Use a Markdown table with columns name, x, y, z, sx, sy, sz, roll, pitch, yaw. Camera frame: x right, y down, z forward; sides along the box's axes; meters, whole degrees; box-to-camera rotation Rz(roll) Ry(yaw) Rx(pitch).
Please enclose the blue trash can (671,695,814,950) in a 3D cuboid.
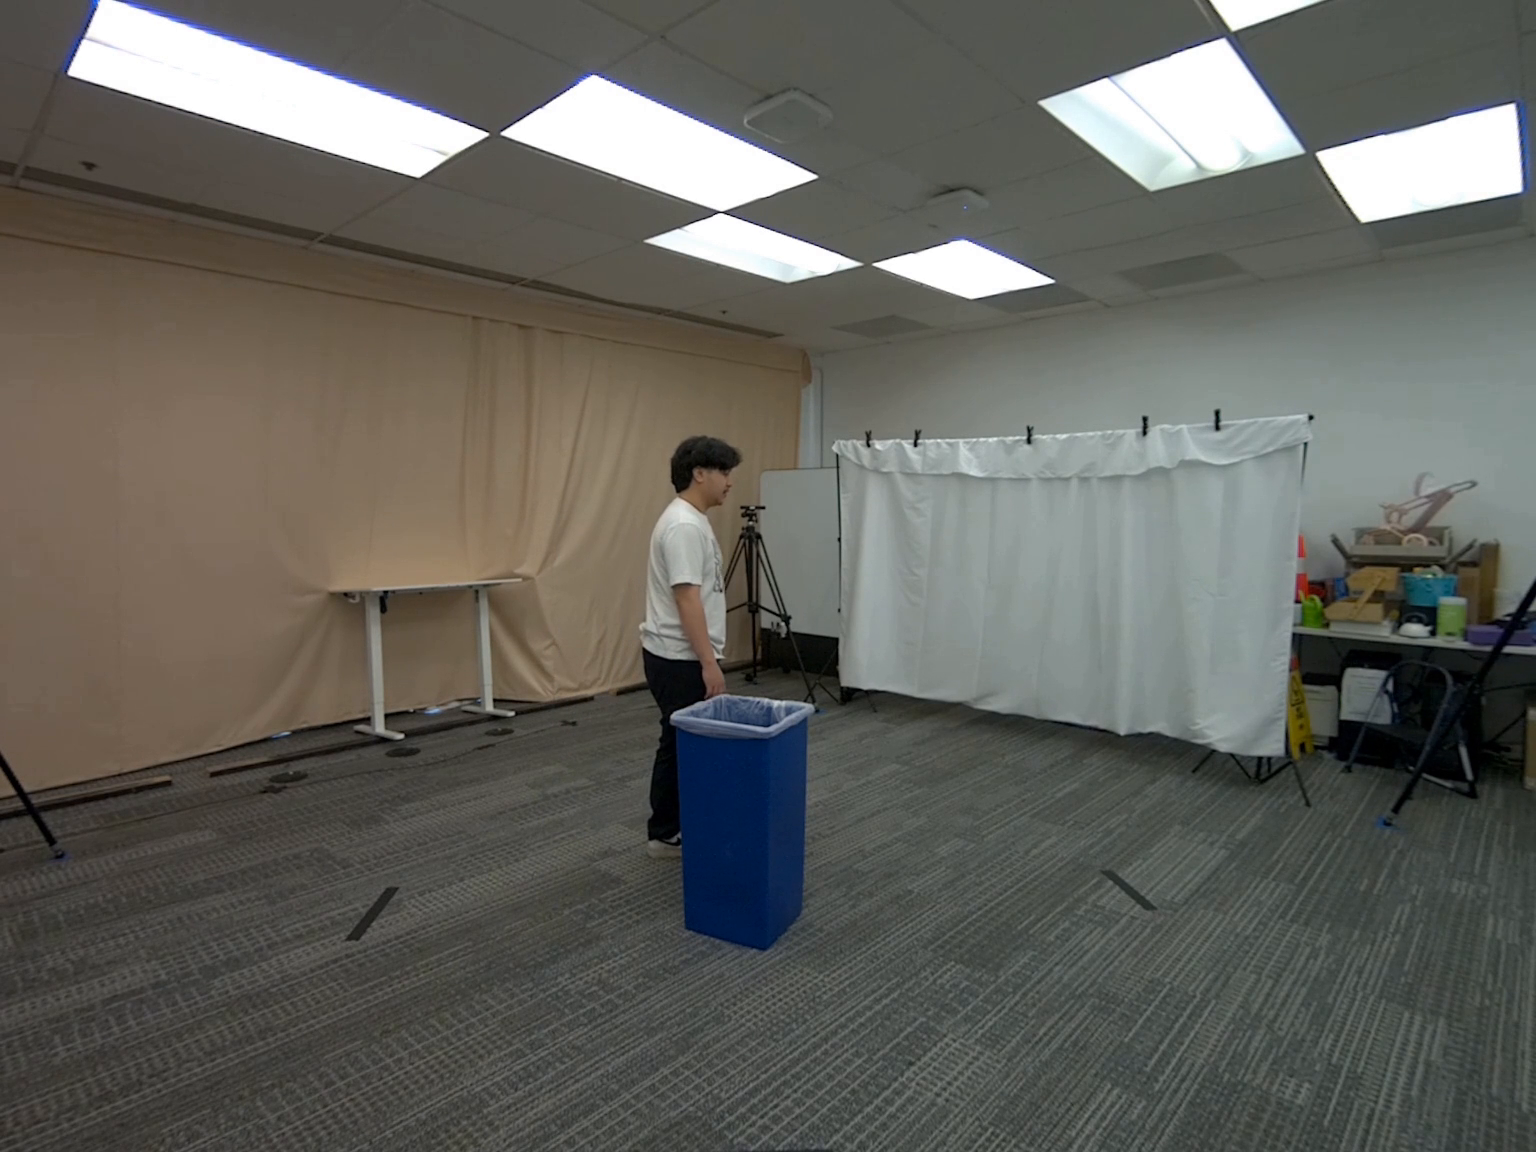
| name | x | y | z | sx | sy | sz | roll | pitch | yaw |
| --- | --- | --- | --- | --- | --- | --- | --- | --- | --- |
| blue trash can | -0.074 | 0.800 | 2.802 | 0.388 | 0.712 | 0.365 | 1 | 3 | 27 |
